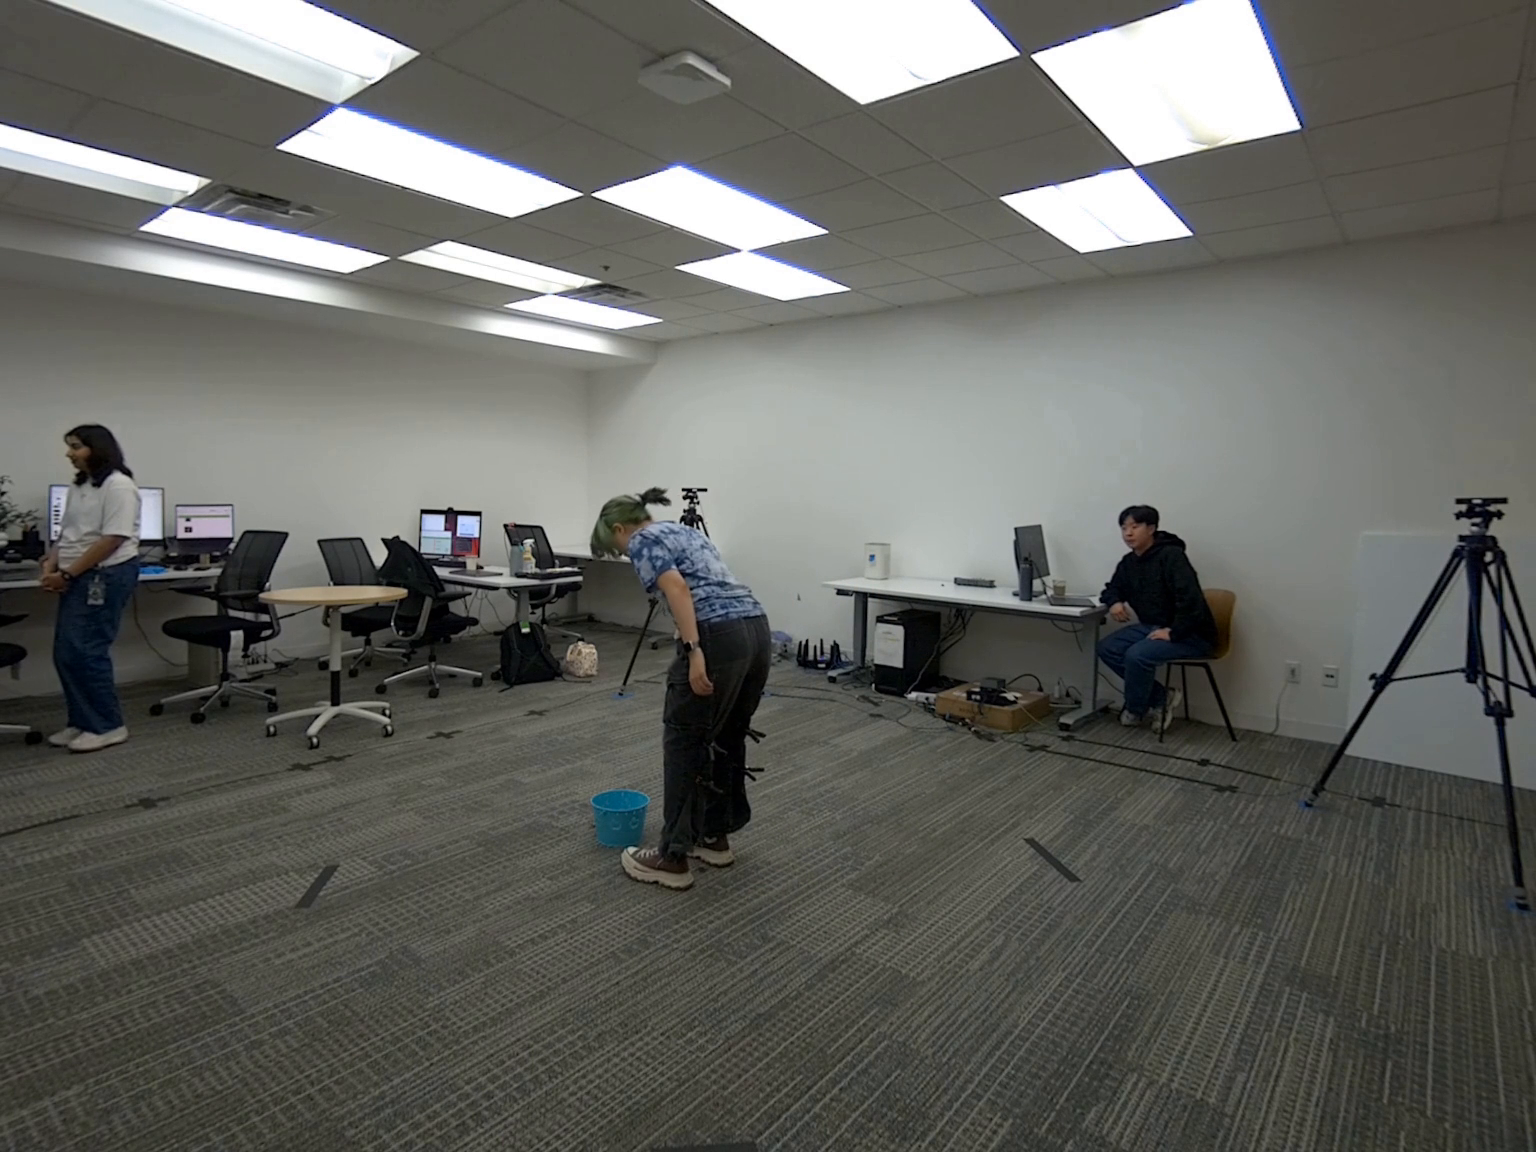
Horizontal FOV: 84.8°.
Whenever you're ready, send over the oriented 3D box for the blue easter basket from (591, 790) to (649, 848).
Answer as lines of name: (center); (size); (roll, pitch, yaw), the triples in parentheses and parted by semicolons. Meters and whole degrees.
blue easter basket: (-0.599, 0.958, 3.386); (0.243, 0.155, 0.245); (1, 5, -2)
